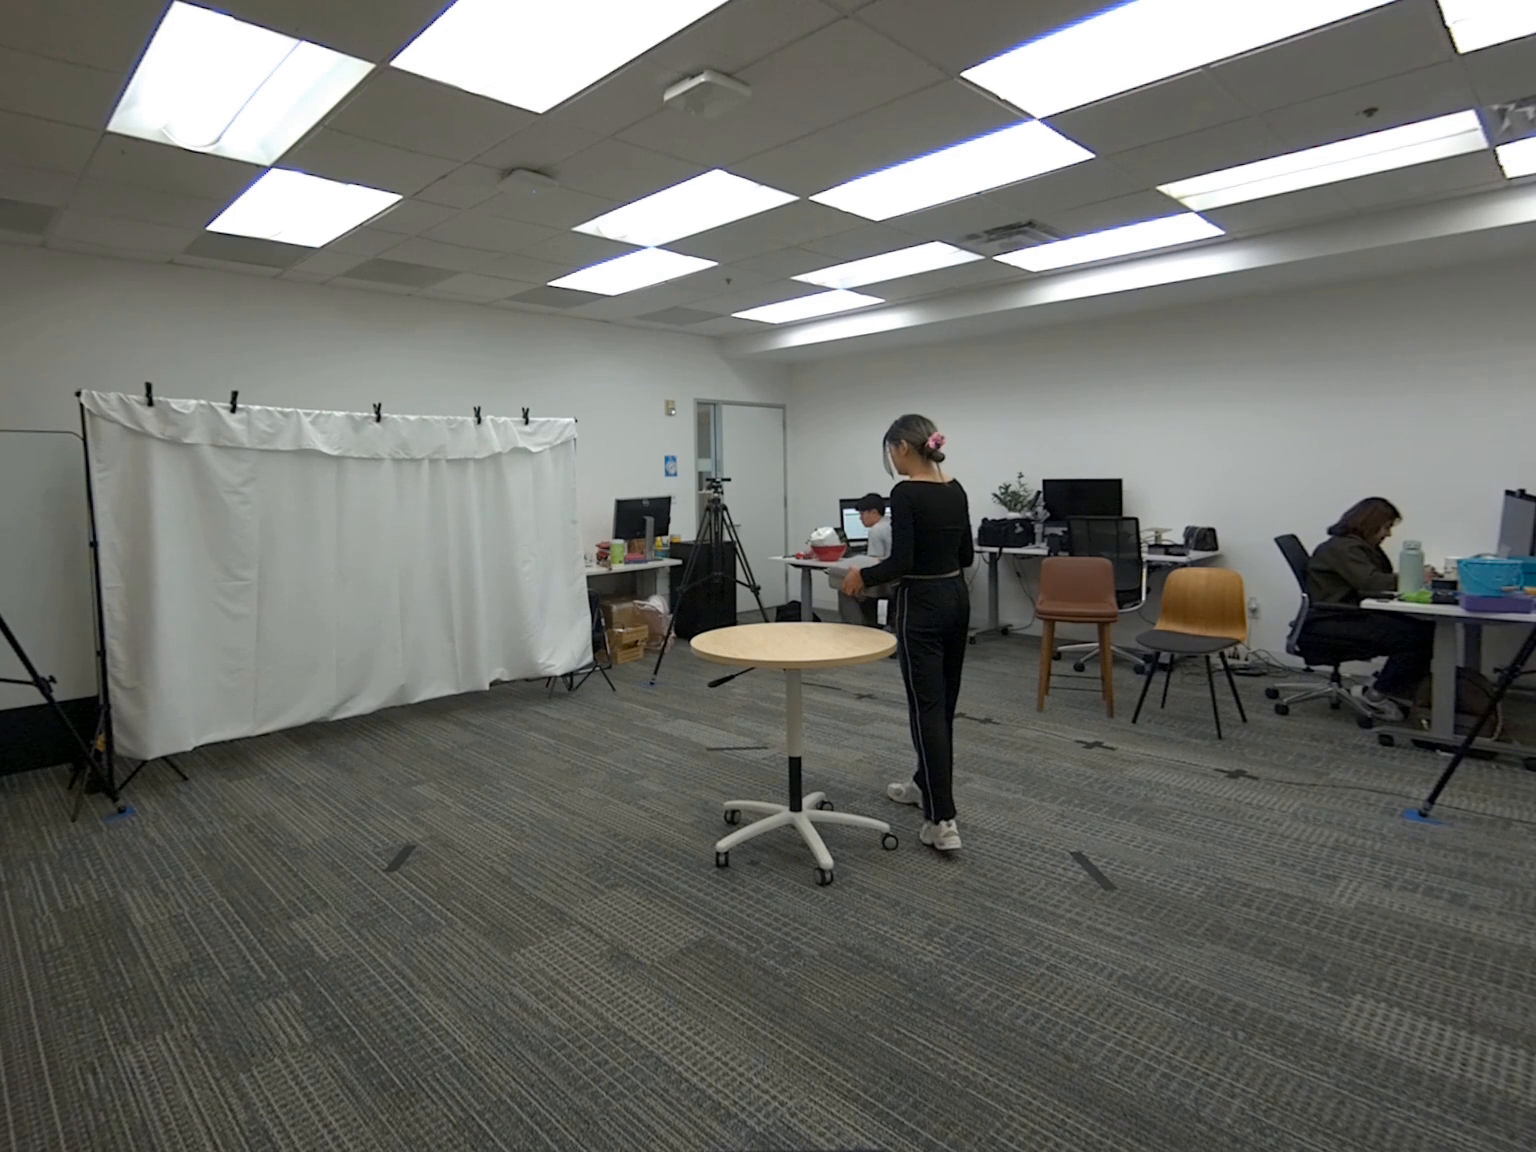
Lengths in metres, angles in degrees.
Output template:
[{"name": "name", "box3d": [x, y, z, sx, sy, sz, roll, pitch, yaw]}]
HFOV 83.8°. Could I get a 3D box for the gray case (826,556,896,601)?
[{"name": "gray case", "box3d": [0.415, 0.004, 3.563, 0.253, 0.103, 0.268, -4, 15, -18]}]
